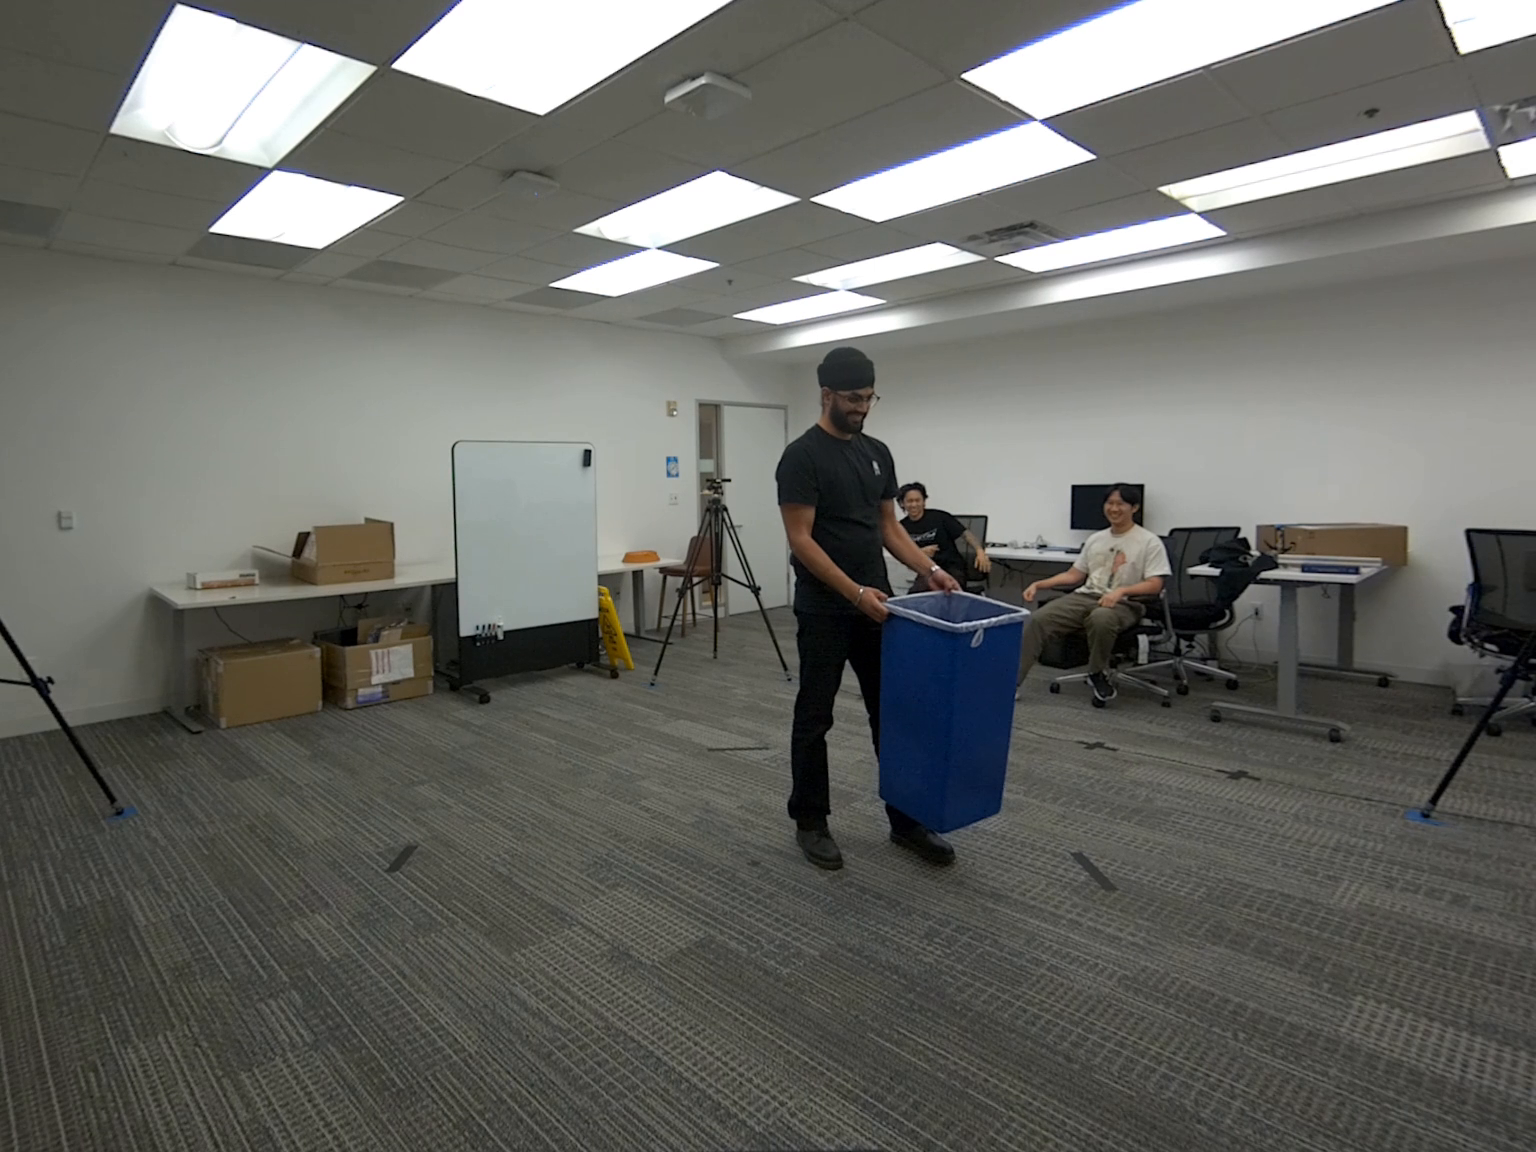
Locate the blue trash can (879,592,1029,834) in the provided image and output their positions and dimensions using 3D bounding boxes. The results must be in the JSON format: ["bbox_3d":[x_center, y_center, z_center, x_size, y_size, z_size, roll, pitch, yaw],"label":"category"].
[{"bbox_3d":[0.600,0.451,2.911,0.369,0.707,0.387,-6,13,-35],"label":"blue trash can"}]
